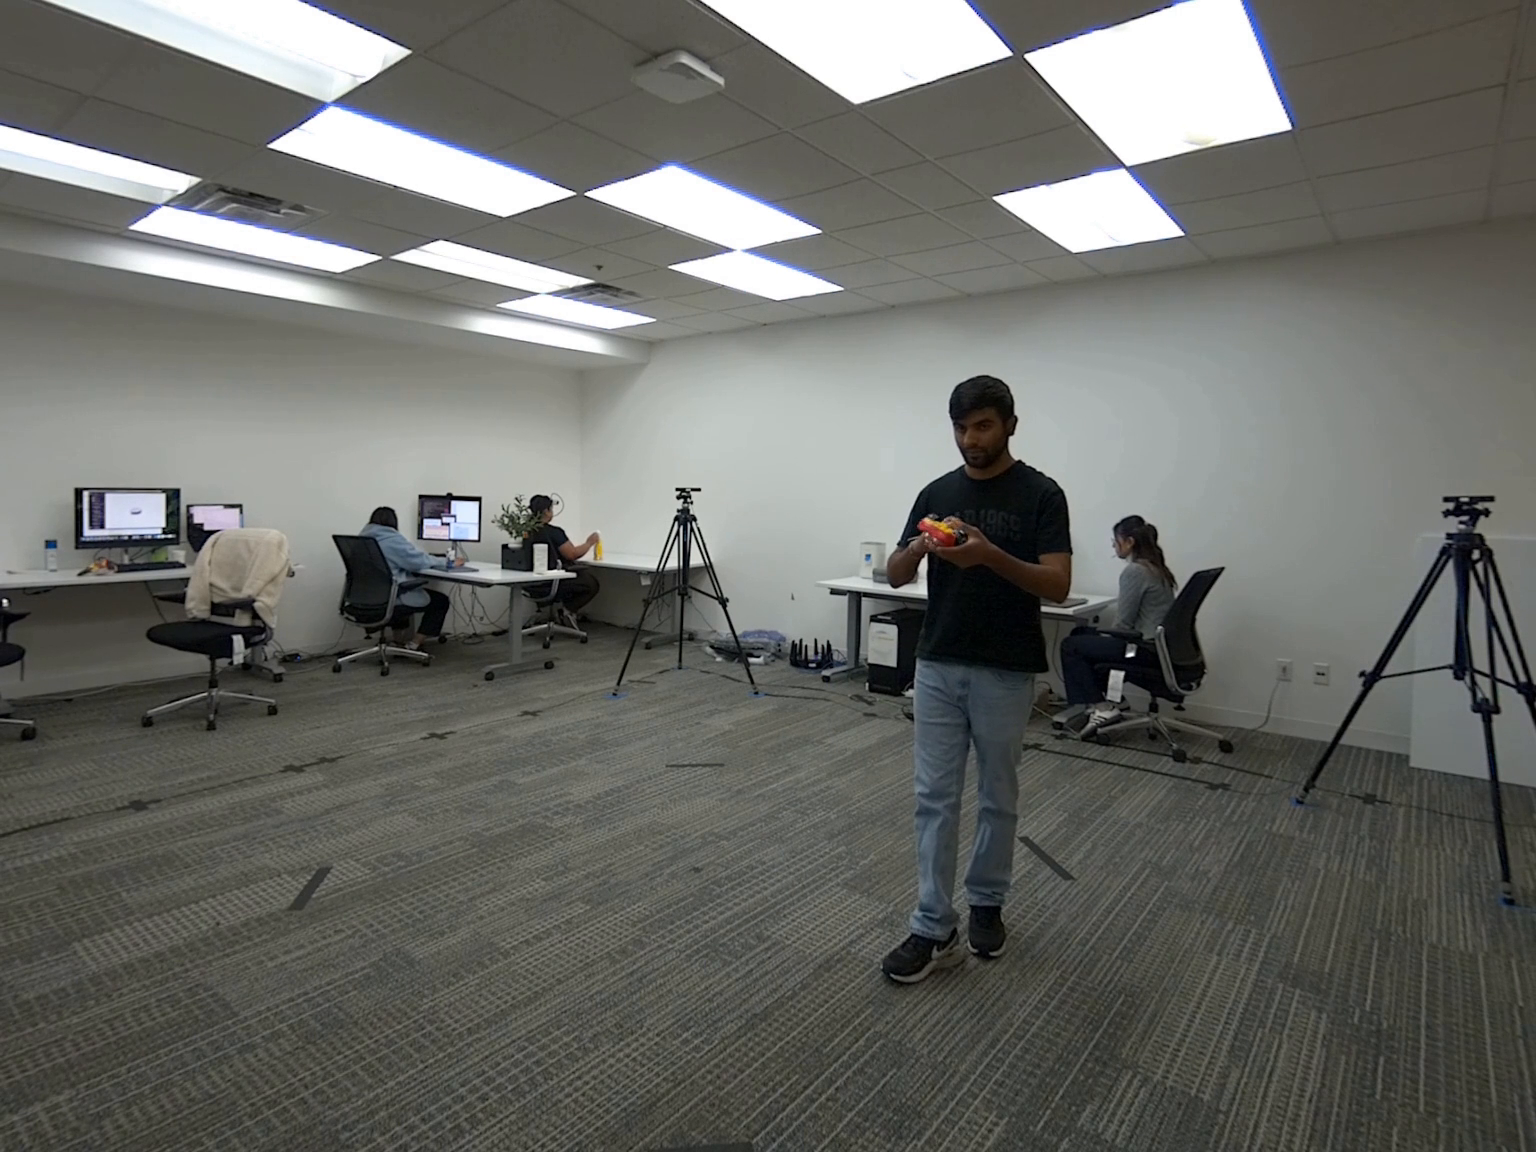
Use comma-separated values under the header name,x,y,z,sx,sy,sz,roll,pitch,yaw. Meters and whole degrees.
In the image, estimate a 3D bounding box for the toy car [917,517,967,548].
name,x,y,z,sx,sy,sz,roll,pitch,yaw
toy car,0.490,-0.111,2.300,0.246,0.082,0.136,2,24,-44
